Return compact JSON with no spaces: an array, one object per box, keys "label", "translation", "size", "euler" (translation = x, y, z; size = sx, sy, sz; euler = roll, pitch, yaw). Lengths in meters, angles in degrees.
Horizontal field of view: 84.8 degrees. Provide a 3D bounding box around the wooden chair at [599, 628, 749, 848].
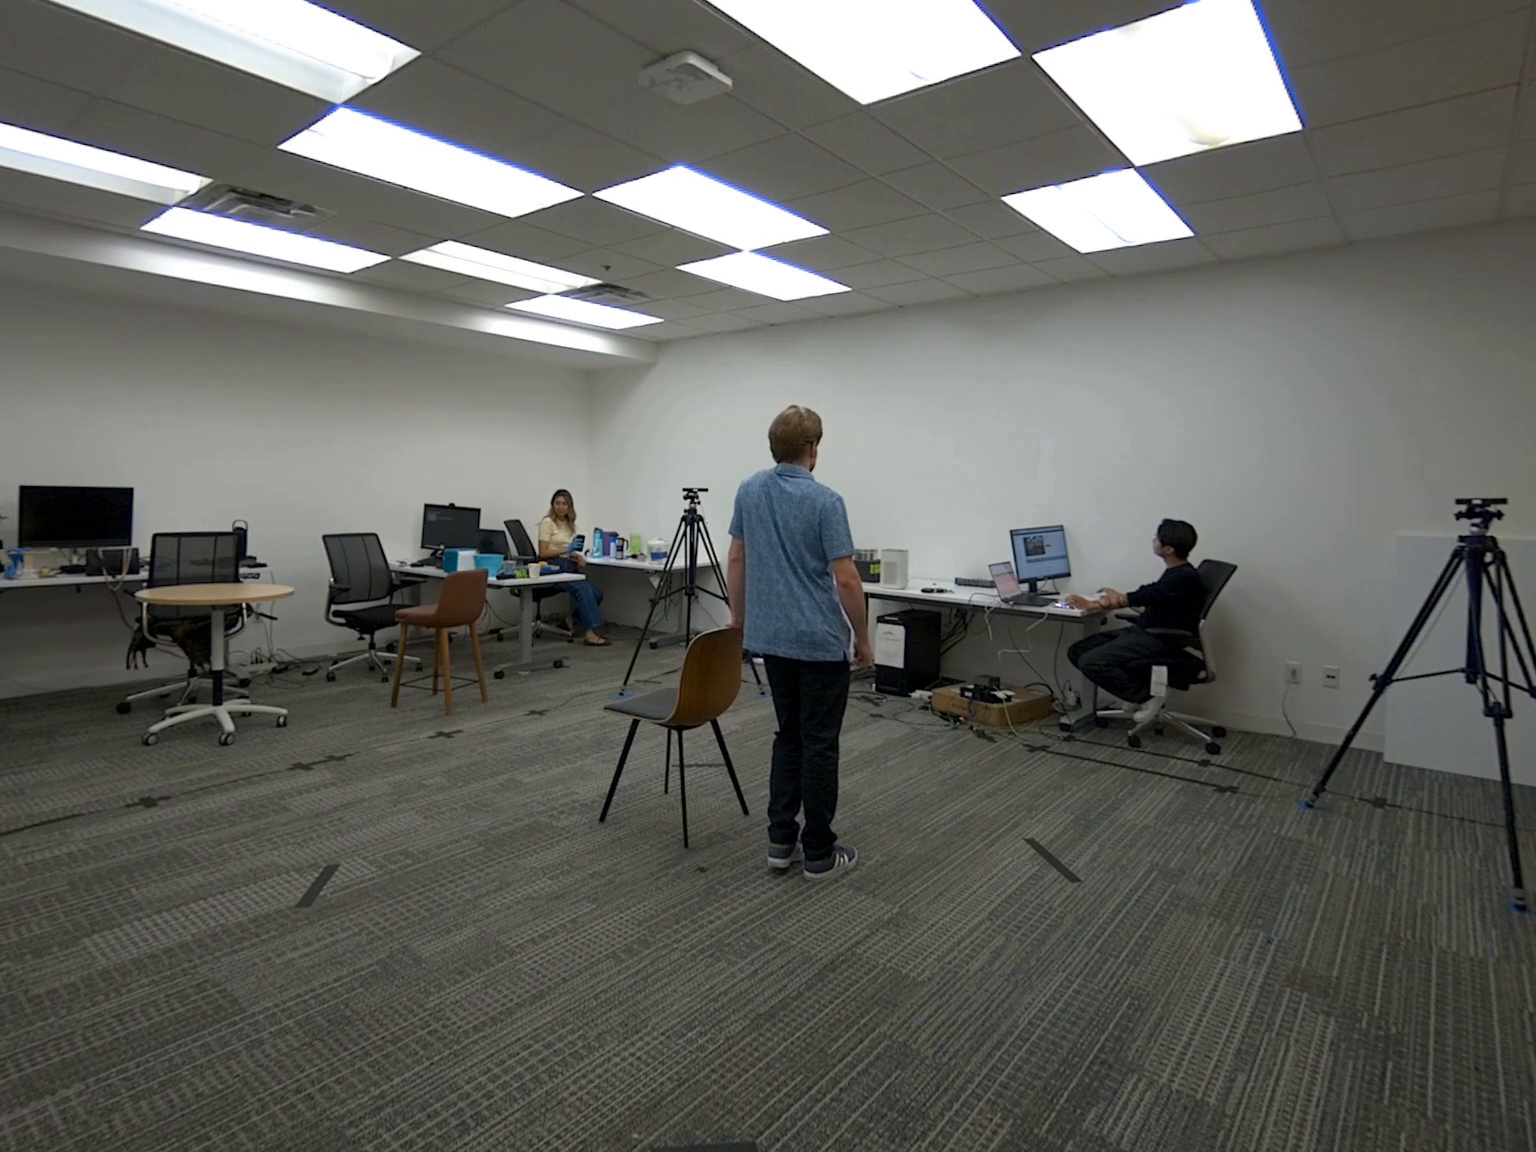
[{"label":"wooden chair","translation":[-0.404,0.593,3.569],"size":[0.540,0.873,0.465],"euler":[9,7,32]}]
